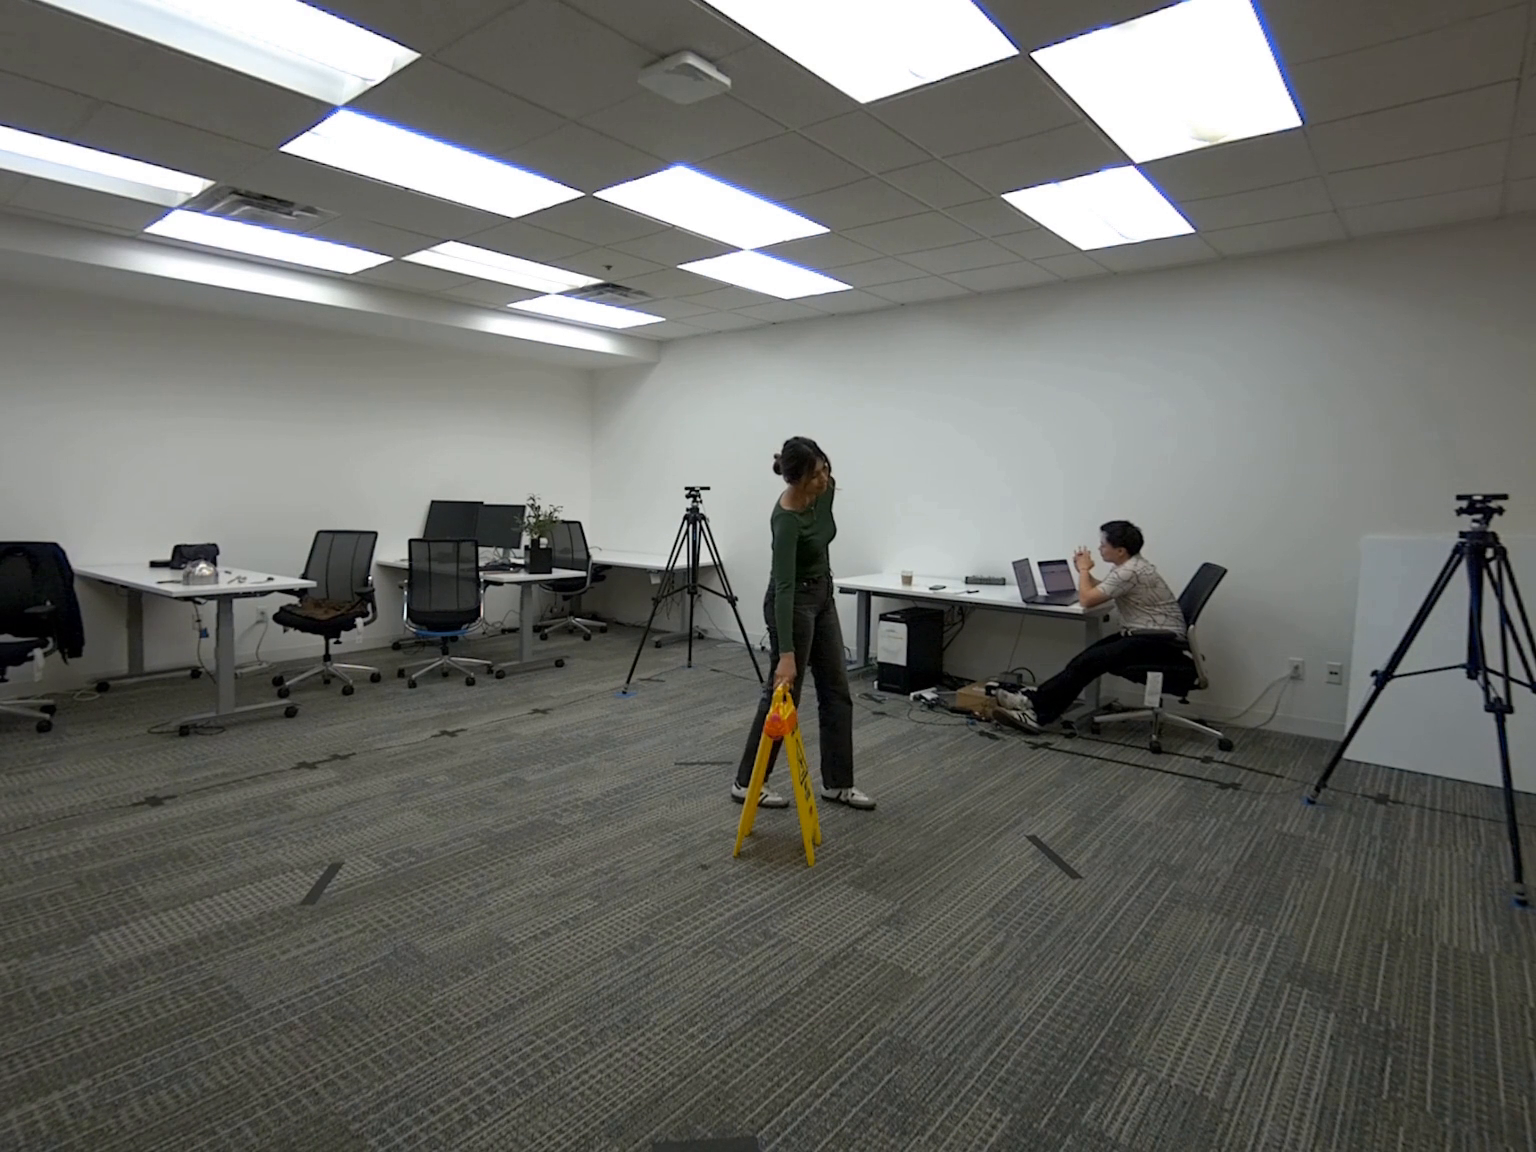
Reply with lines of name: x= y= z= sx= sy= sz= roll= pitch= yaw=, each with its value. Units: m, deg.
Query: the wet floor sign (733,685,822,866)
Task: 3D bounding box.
wet floor sign: x=0.035 y=0.730 z=3.283 sx=0.294 sy=0.645 sz=0.278 roll=1 pitch=2 yaw=14
